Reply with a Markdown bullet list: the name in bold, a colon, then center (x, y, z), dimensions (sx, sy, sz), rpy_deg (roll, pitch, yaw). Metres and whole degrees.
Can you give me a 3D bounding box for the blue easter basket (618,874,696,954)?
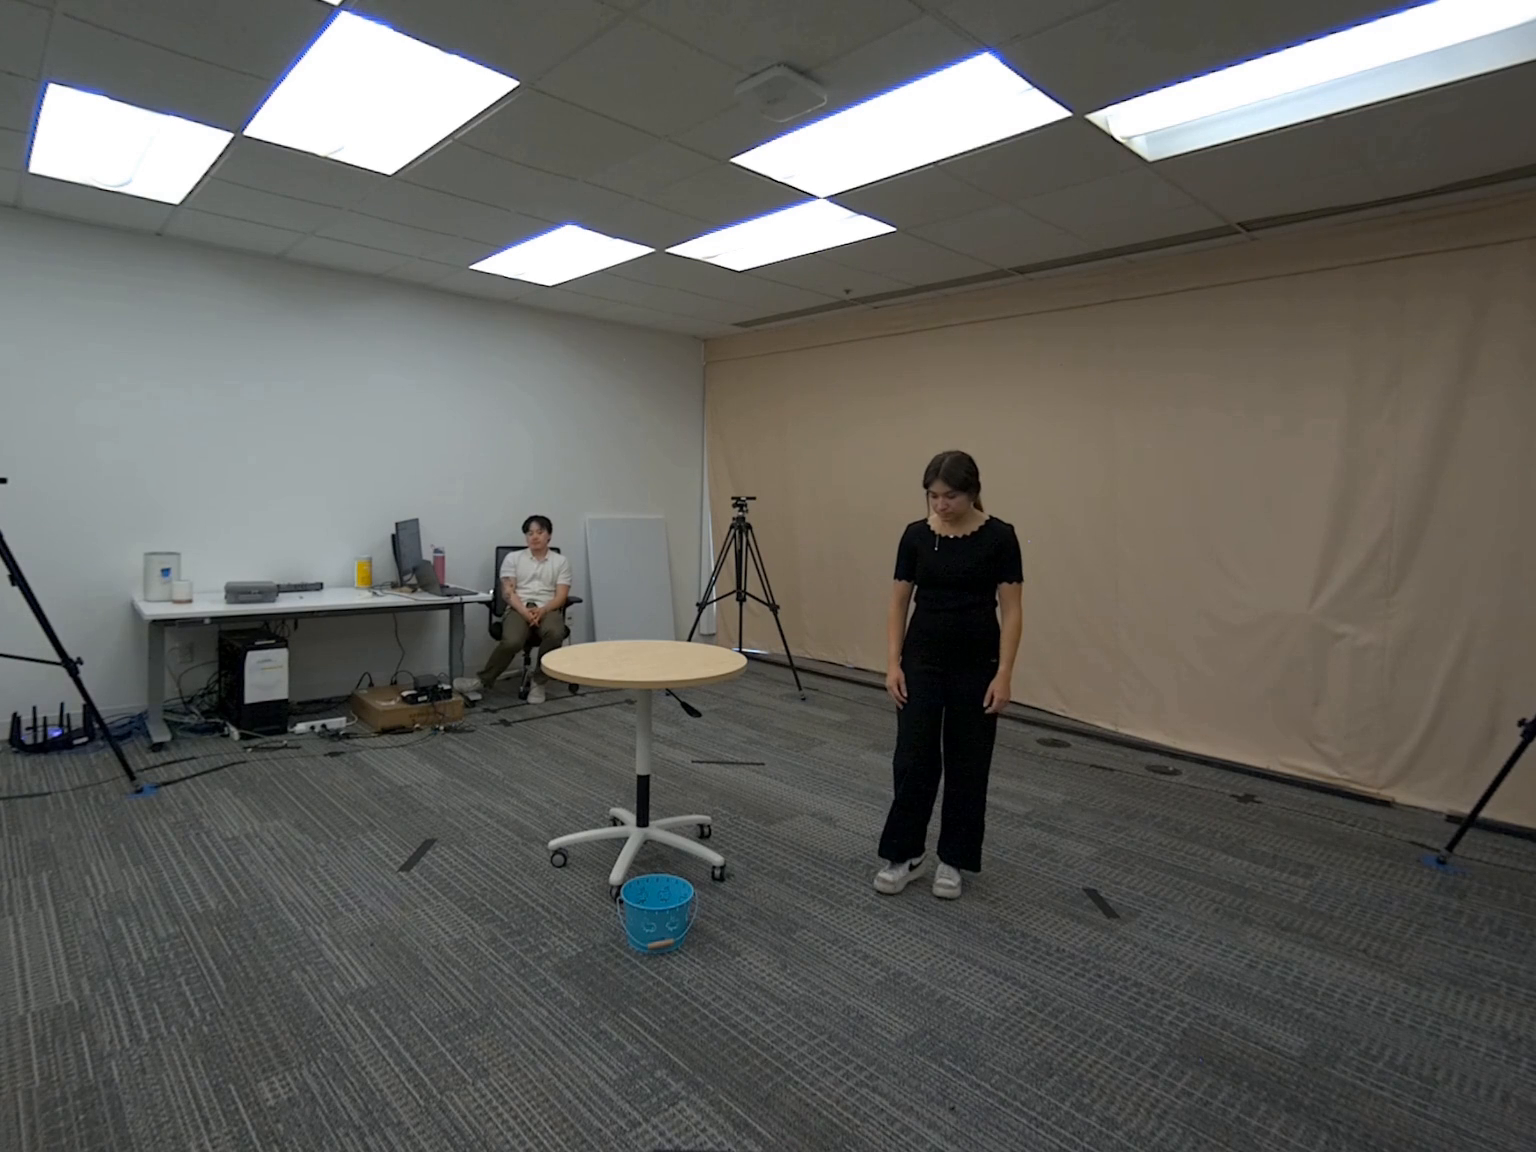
- **blue easter basket**: center (-0.355, 1.063, 2.655), dimensions (0.243, 0.155, 0.244), rpy_deg (1, 4, -1)
